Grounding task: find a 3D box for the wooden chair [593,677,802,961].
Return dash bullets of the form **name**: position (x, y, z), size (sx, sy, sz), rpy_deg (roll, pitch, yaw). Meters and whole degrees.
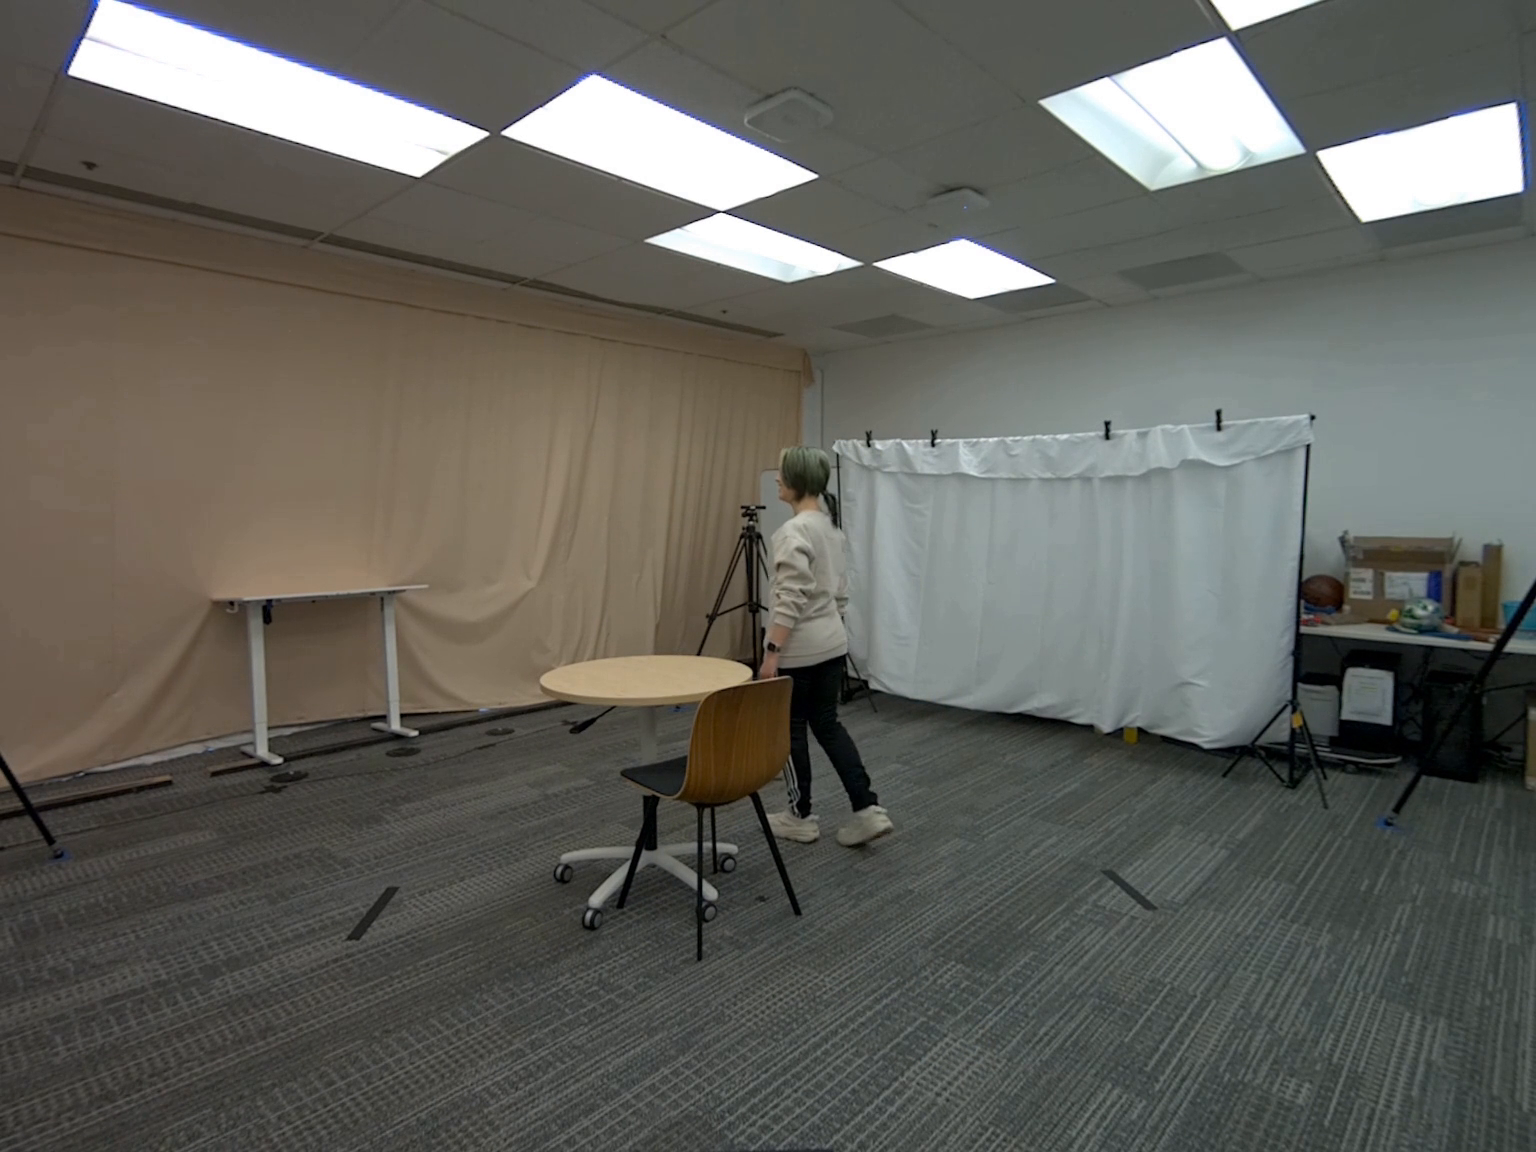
- **wooden chair**: position (-0.212, 0.726, 2.864), size (0.463, 0.874, 0.541), rpy_deg (-4, 9, -42)
